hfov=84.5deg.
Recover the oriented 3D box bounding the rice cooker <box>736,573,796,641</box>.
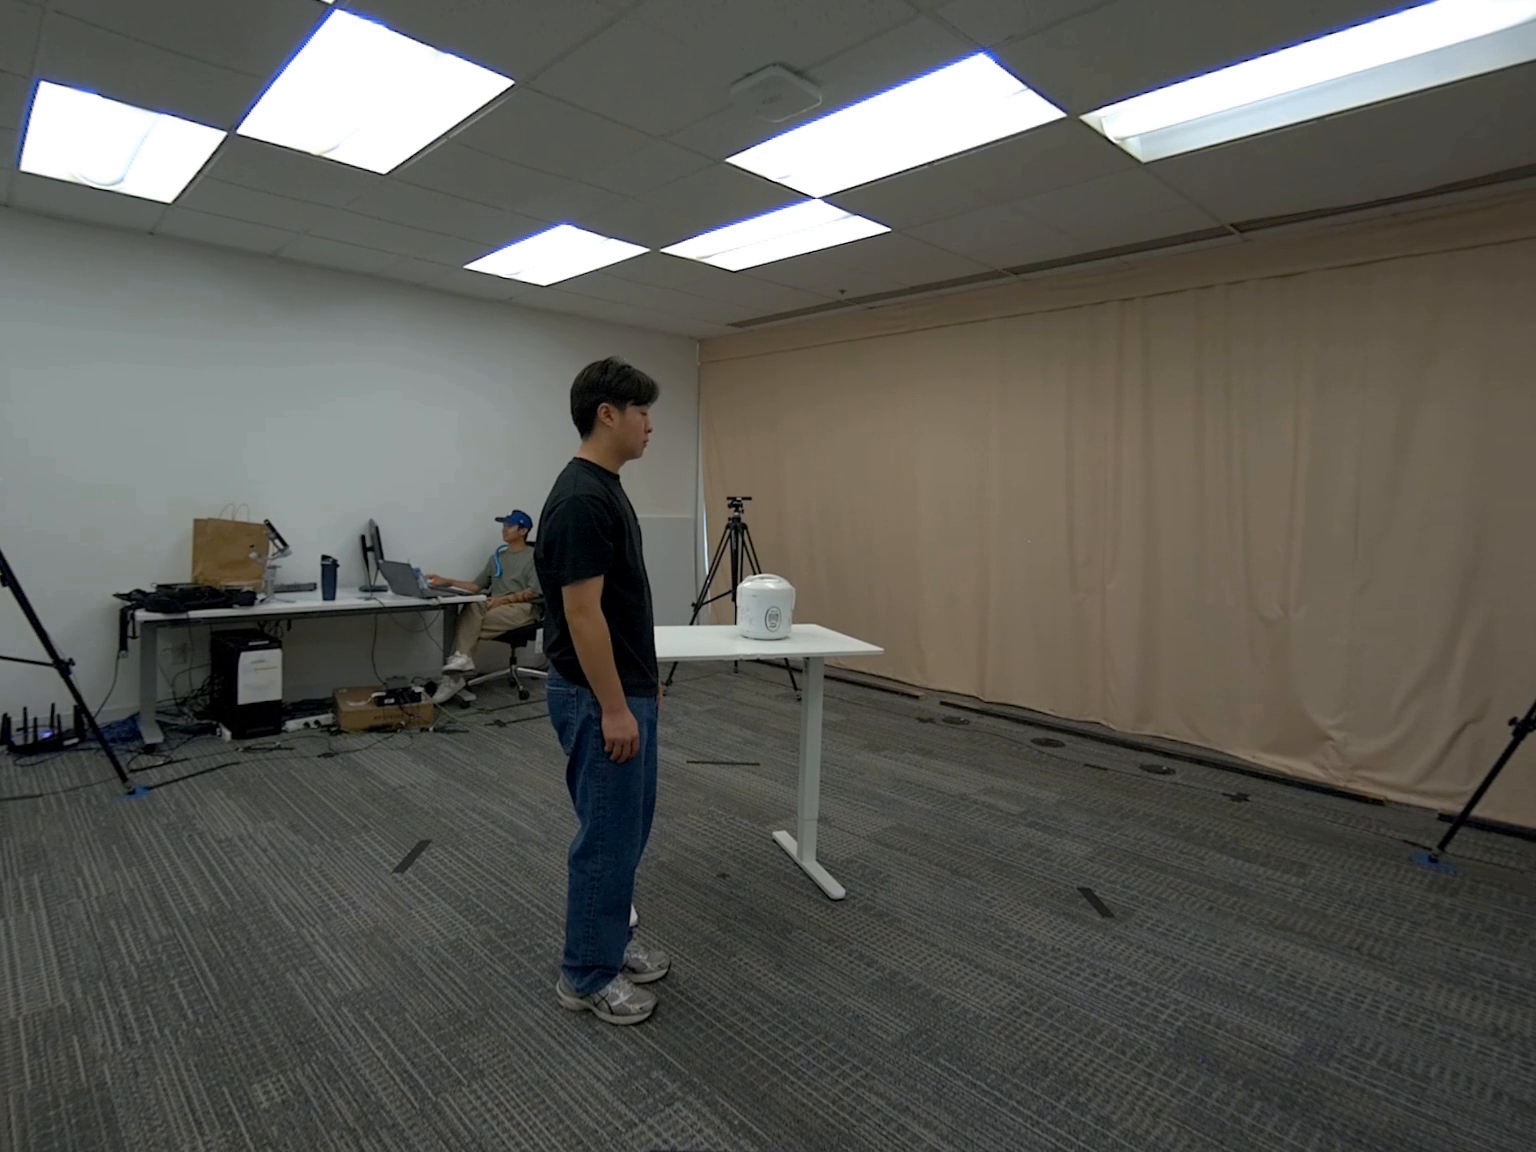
[{"bbox_3d":[-0.014,0.111,3.115,0.218,0.232,0.221,0,4,-17],"label":"rice cooker"}]
